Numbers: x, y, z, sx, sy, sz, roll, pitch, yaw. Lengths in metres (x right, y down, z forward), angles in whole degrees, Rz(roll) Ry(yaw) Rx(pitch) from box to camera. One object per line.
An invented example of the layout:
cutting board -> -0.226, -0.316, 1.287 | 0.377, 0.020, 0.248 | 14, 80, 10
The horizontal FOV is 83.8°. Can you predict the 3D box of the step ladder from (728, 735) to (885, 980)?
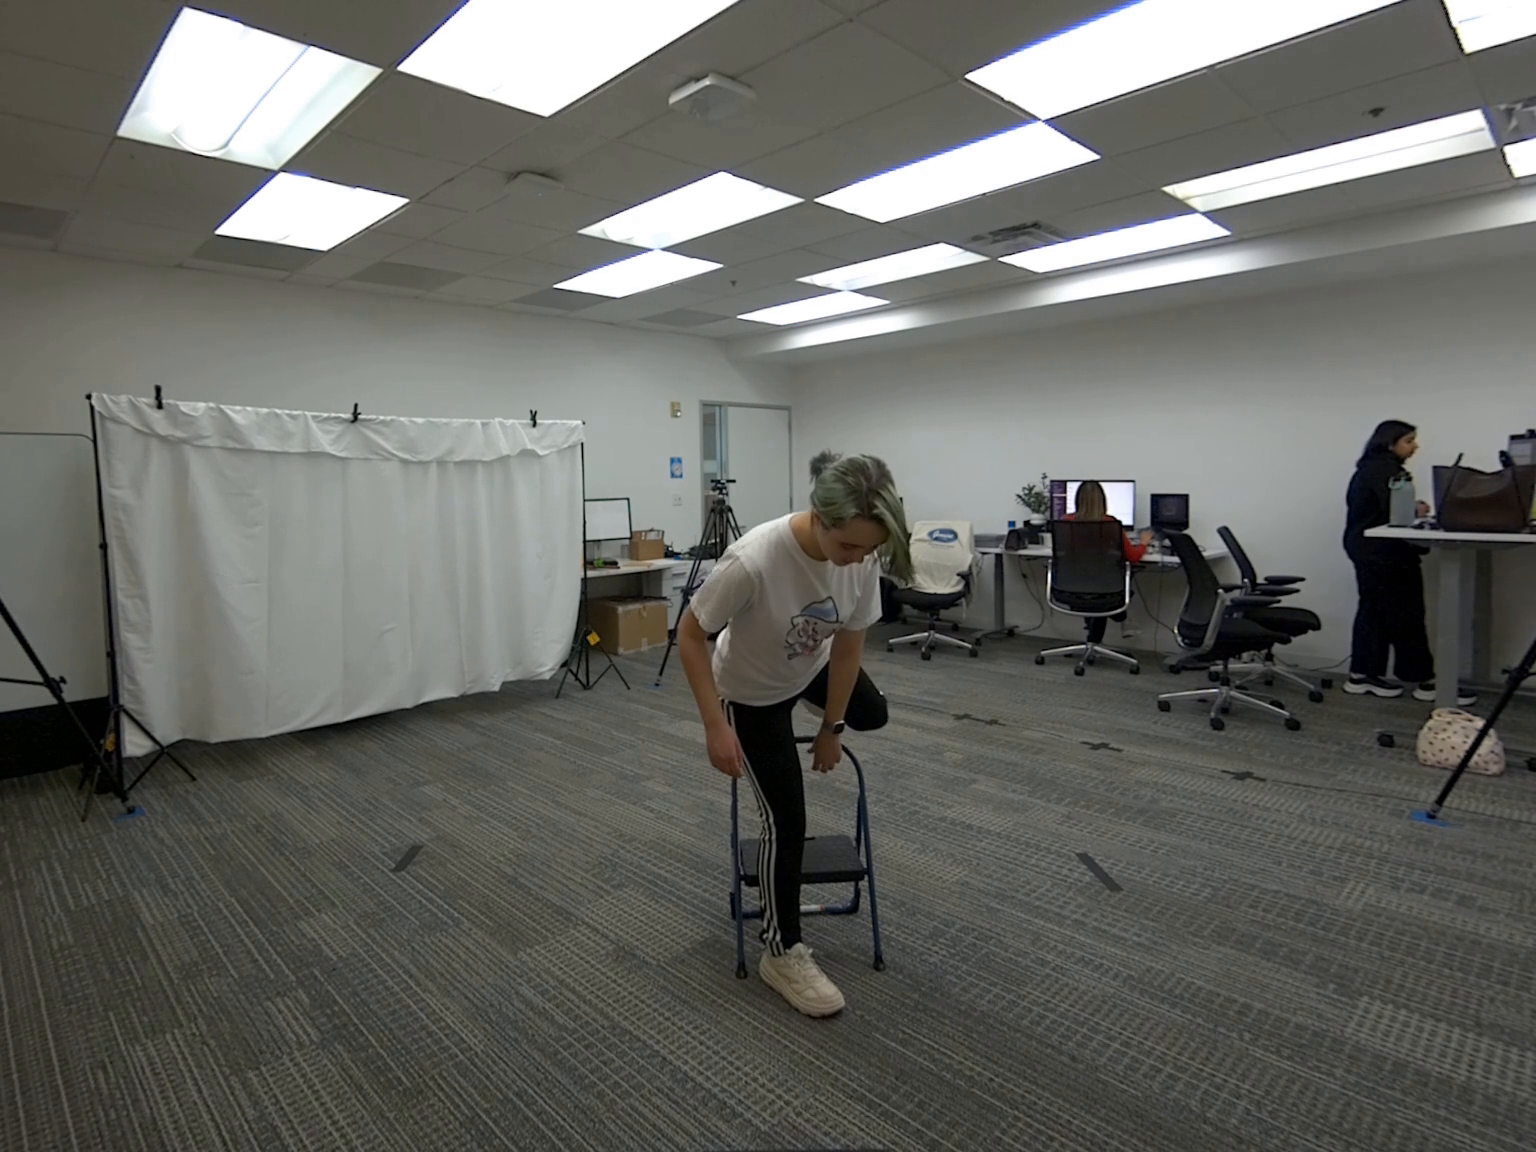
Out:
step ladder -> 0.102, 0.806, 2.564 | 0.429, 0.604, 0.352 | -1, 5, -5
